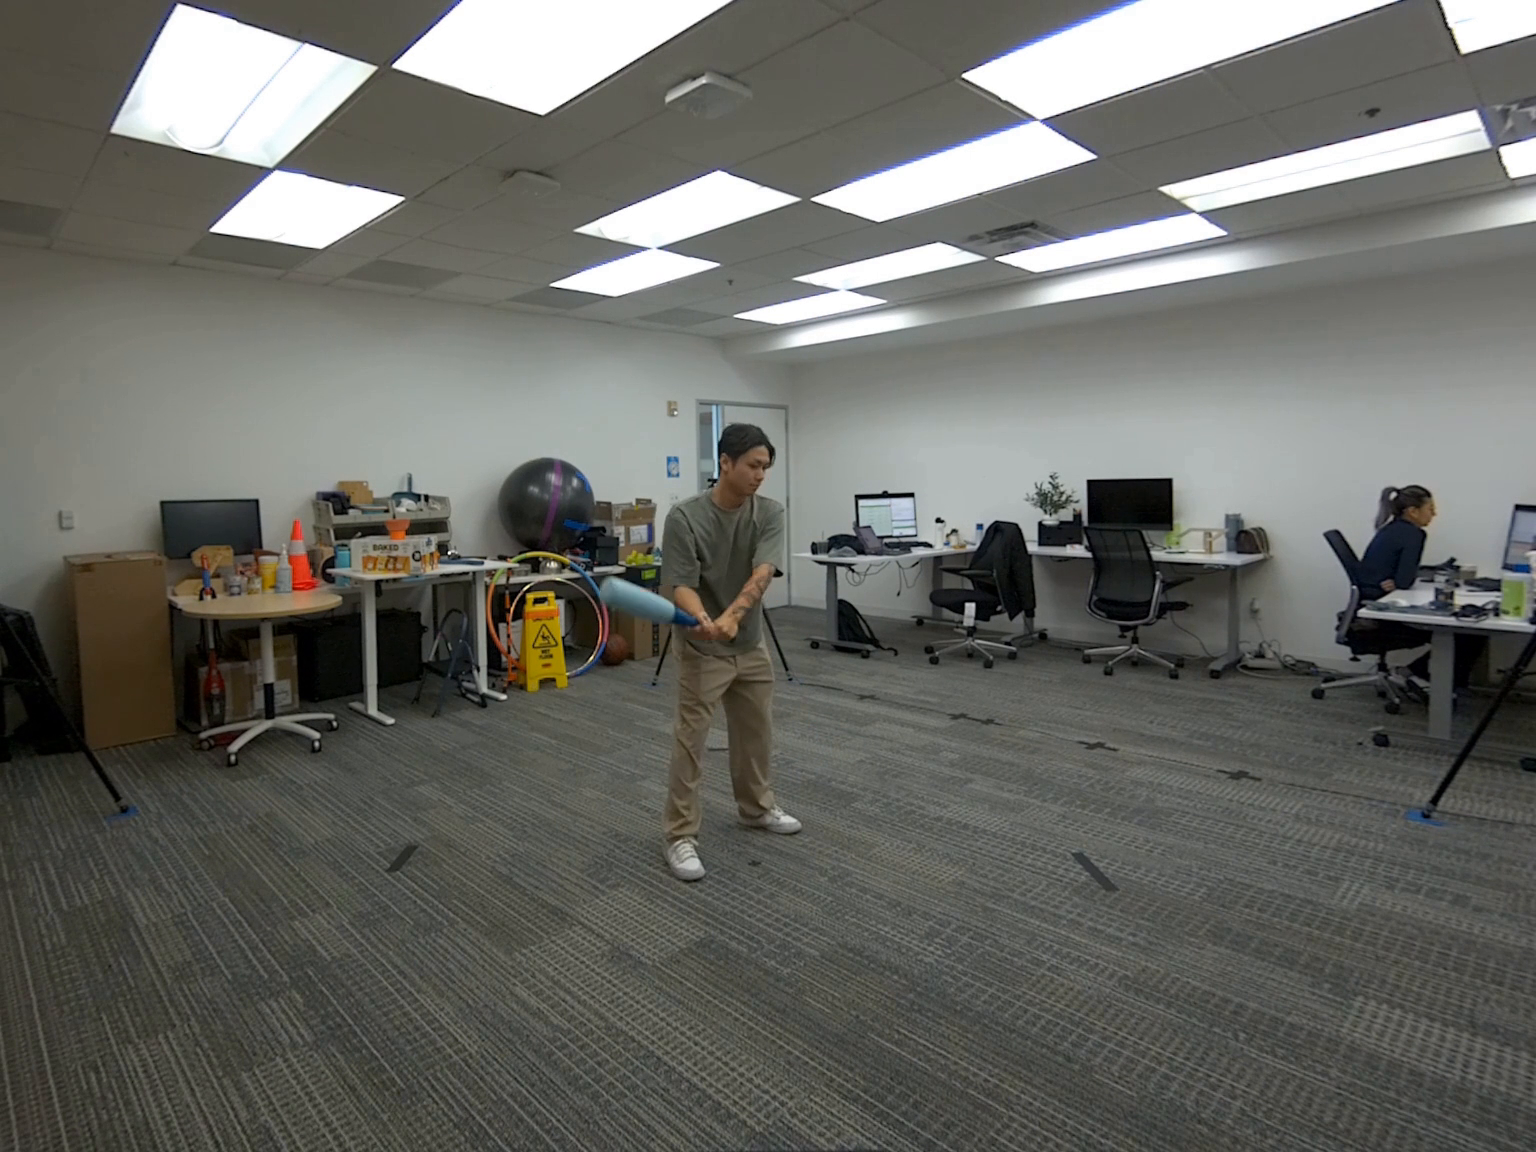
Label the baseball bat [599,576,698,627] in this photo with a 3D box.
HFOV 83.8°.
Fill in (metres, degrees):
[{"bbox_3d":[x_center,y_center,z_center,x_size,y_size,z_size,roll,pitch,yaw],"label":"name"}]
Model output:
[{"bbox_3d":[-0.302,0.130,2.769,0.523,0.089,0.092,25,-13,-38],"label":"baseball bat"}]
